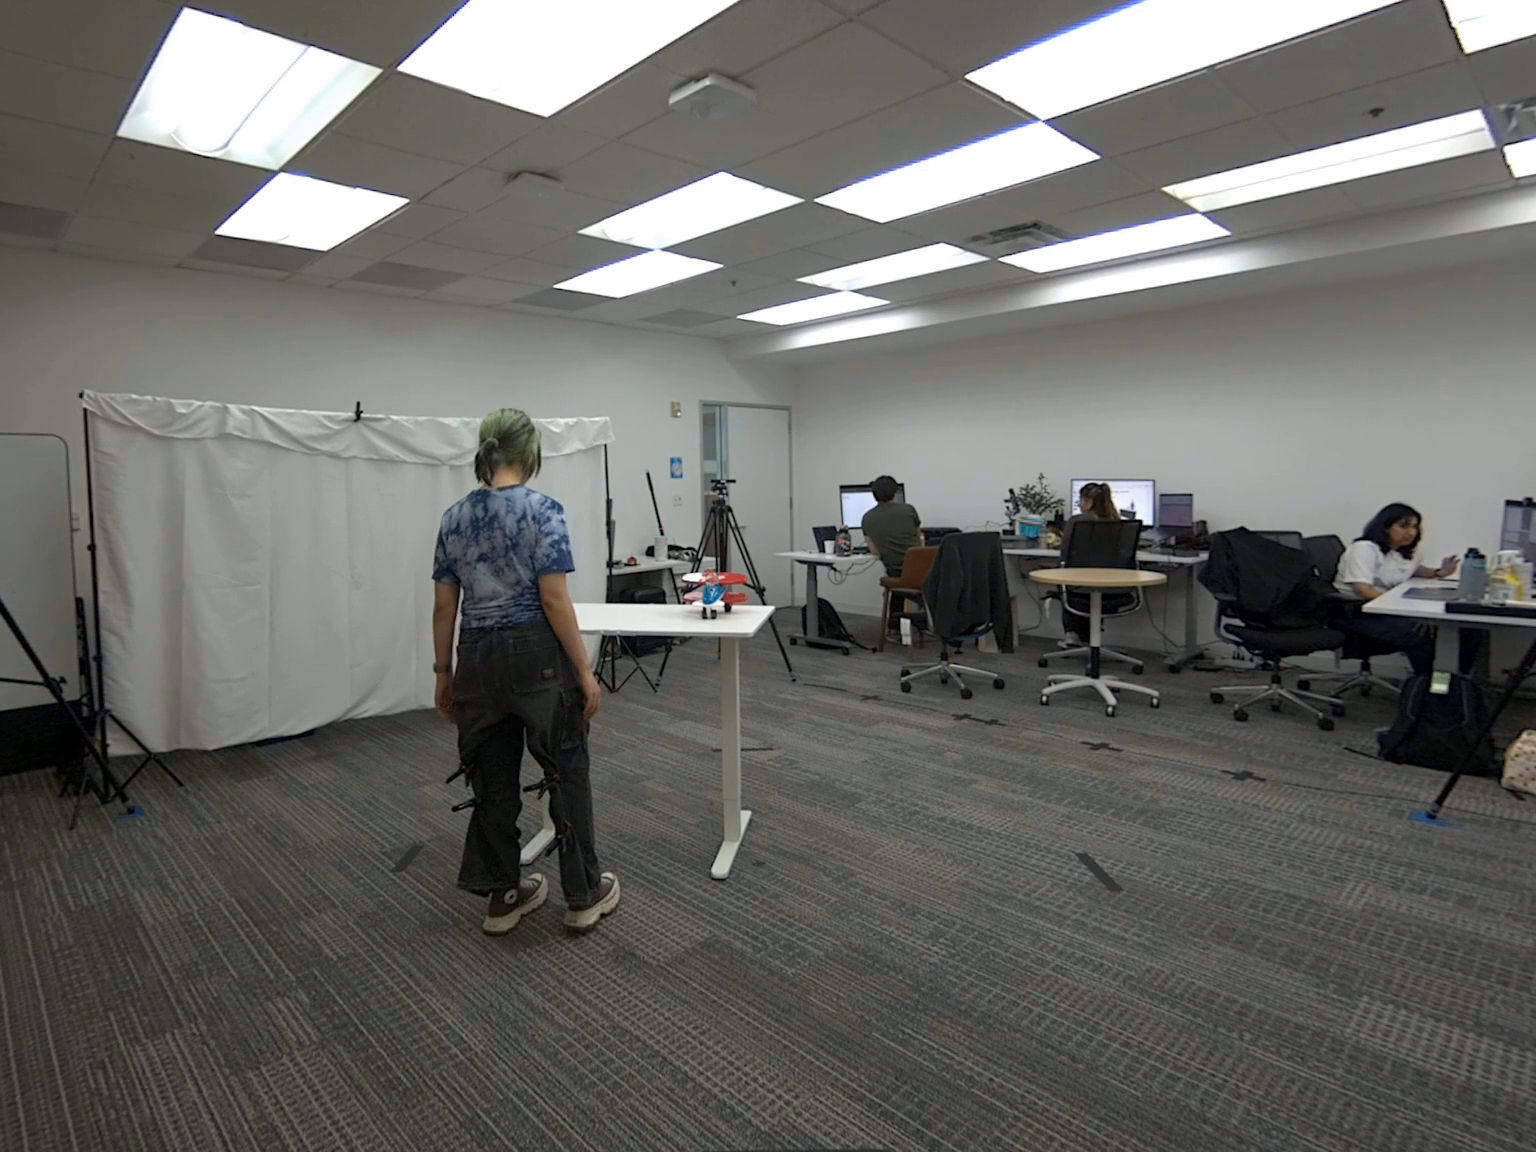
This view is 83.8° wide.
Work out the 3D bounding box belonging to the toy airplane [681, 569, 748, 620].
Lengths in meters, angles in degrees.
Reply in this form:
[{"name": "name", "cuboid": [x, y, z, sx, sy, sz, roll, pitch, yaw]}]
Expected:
[{"name": "toy airplane", "cuboid": [-0.193, 0.073, 3.279, 0.246, 0.156, 0.265, -3, 5, -22]}]
